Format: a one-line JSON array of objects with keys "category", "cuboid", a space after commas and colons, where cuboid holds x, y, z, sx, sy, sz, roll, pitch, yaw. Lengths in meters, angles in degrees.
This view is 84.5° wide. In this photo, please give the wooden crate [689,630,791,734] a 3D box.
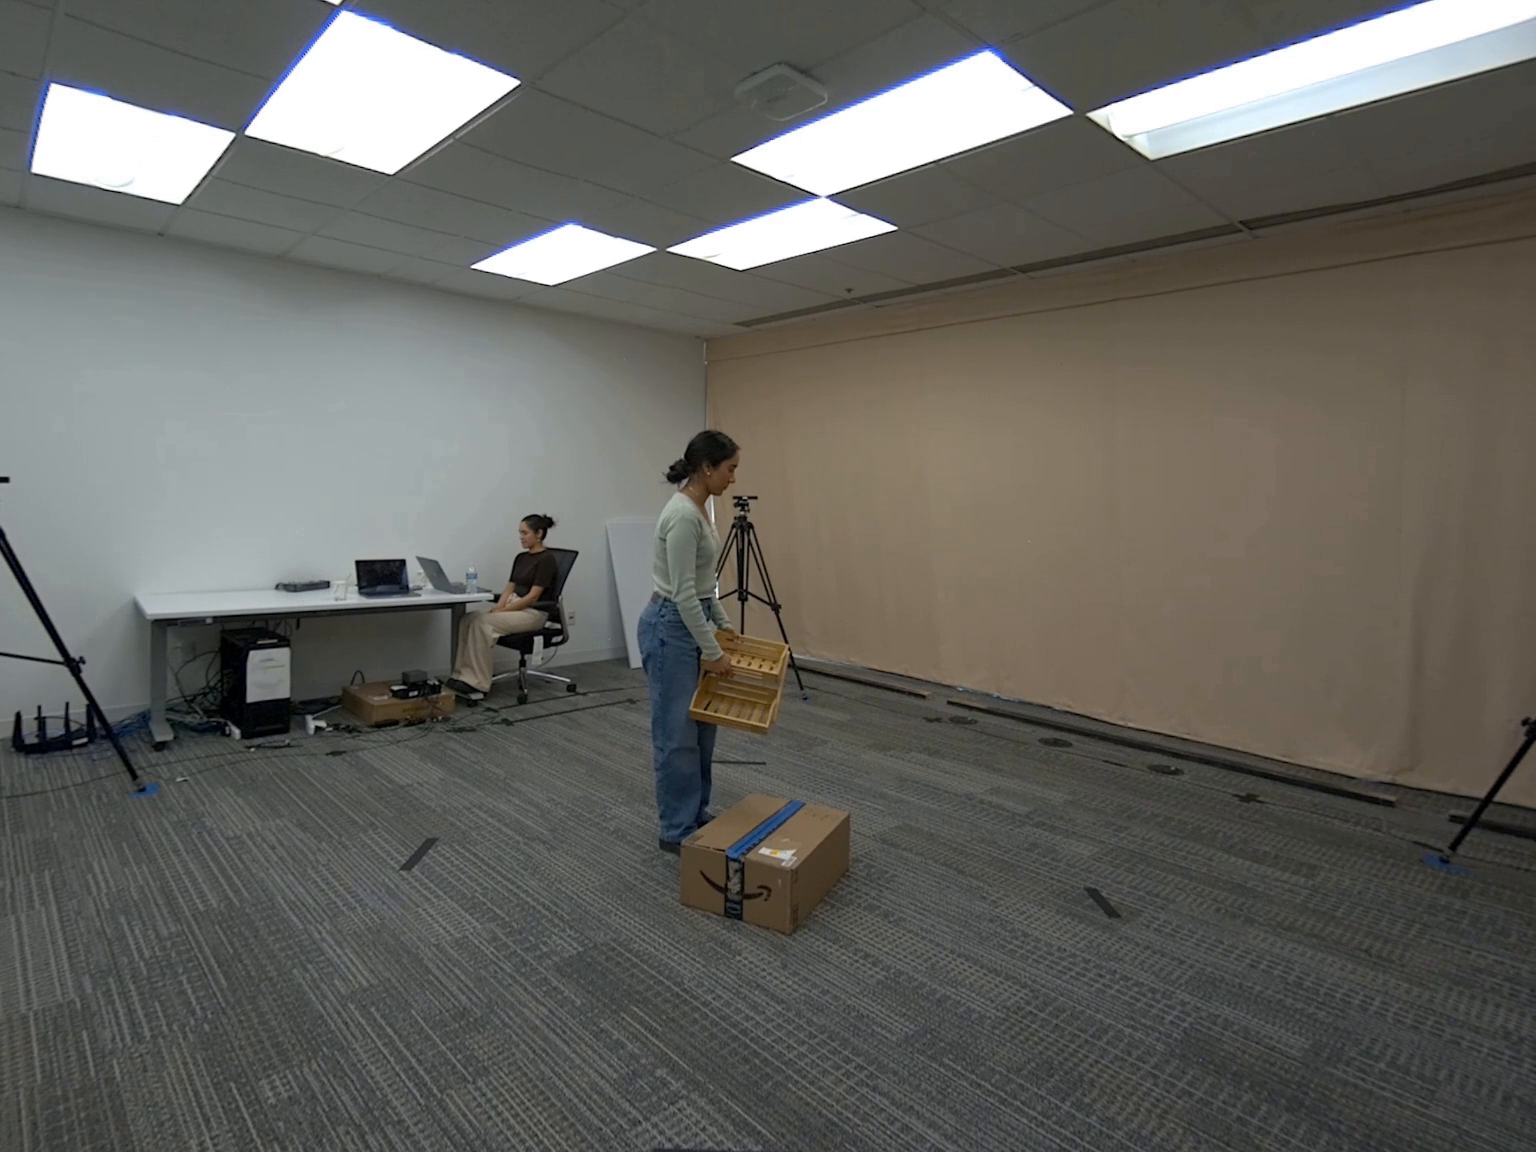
[{"category": "wooden crate", "cuboid": [-0.113, 0.403, 3.199, 0.327, 0.270, 0.303, 10, 16, 8]}]
